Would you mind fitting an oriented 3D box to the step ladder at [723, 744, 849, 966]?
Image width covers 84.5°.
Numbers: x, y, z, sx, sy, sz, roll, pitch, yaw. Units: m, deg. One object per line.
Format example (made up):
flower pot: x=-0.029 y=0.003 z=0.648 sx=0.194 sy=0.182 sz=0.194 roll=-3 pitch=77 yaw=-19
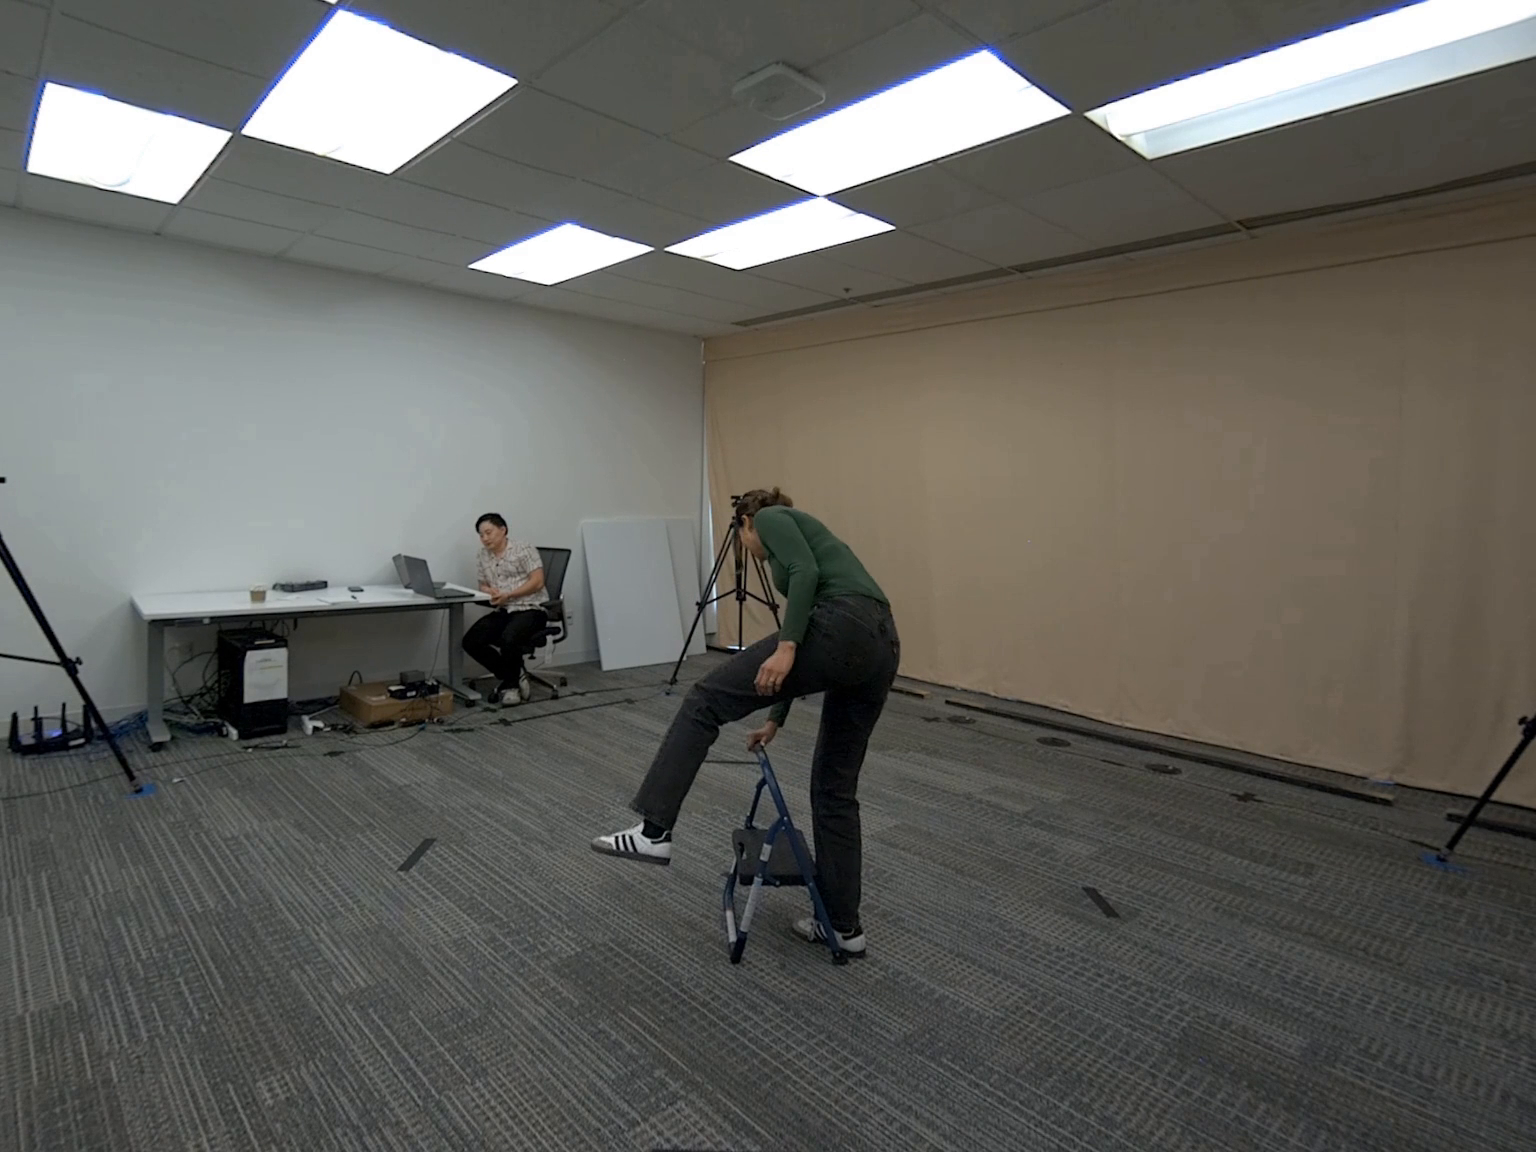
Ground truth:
step ladder: x=0.032 y=0.842 z=2.703 sx=0.348 sy=0.604 sz=0.434 roll=0 pitch=5 yaw=-5
